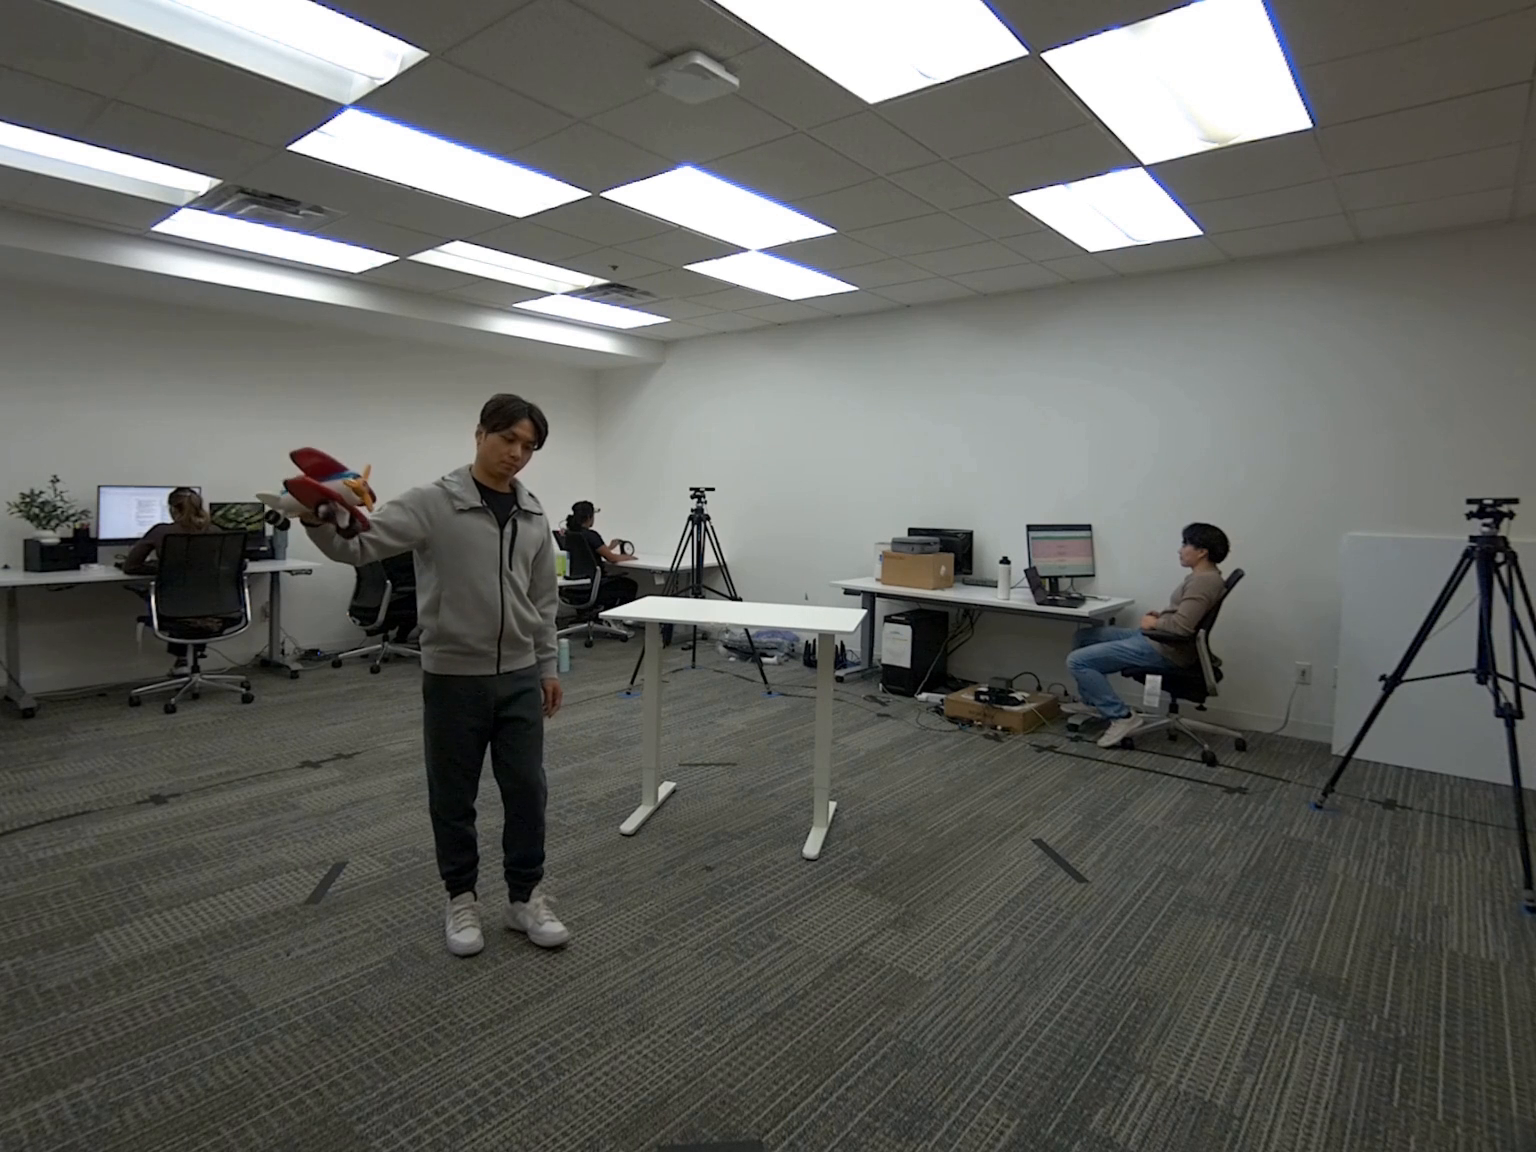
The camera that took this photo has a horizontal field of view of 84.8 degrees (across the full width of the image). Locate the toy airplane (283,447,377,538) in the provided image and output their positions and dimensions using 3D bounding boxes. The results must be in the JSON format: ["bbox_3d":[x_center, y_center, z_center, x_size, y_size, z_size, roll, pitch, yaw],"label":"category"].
[{"bbox_3d":[-1.092,-0.178,2.003,0.257,0.159,0.249,15,-22,-6],"label":"toy airplane"}]
